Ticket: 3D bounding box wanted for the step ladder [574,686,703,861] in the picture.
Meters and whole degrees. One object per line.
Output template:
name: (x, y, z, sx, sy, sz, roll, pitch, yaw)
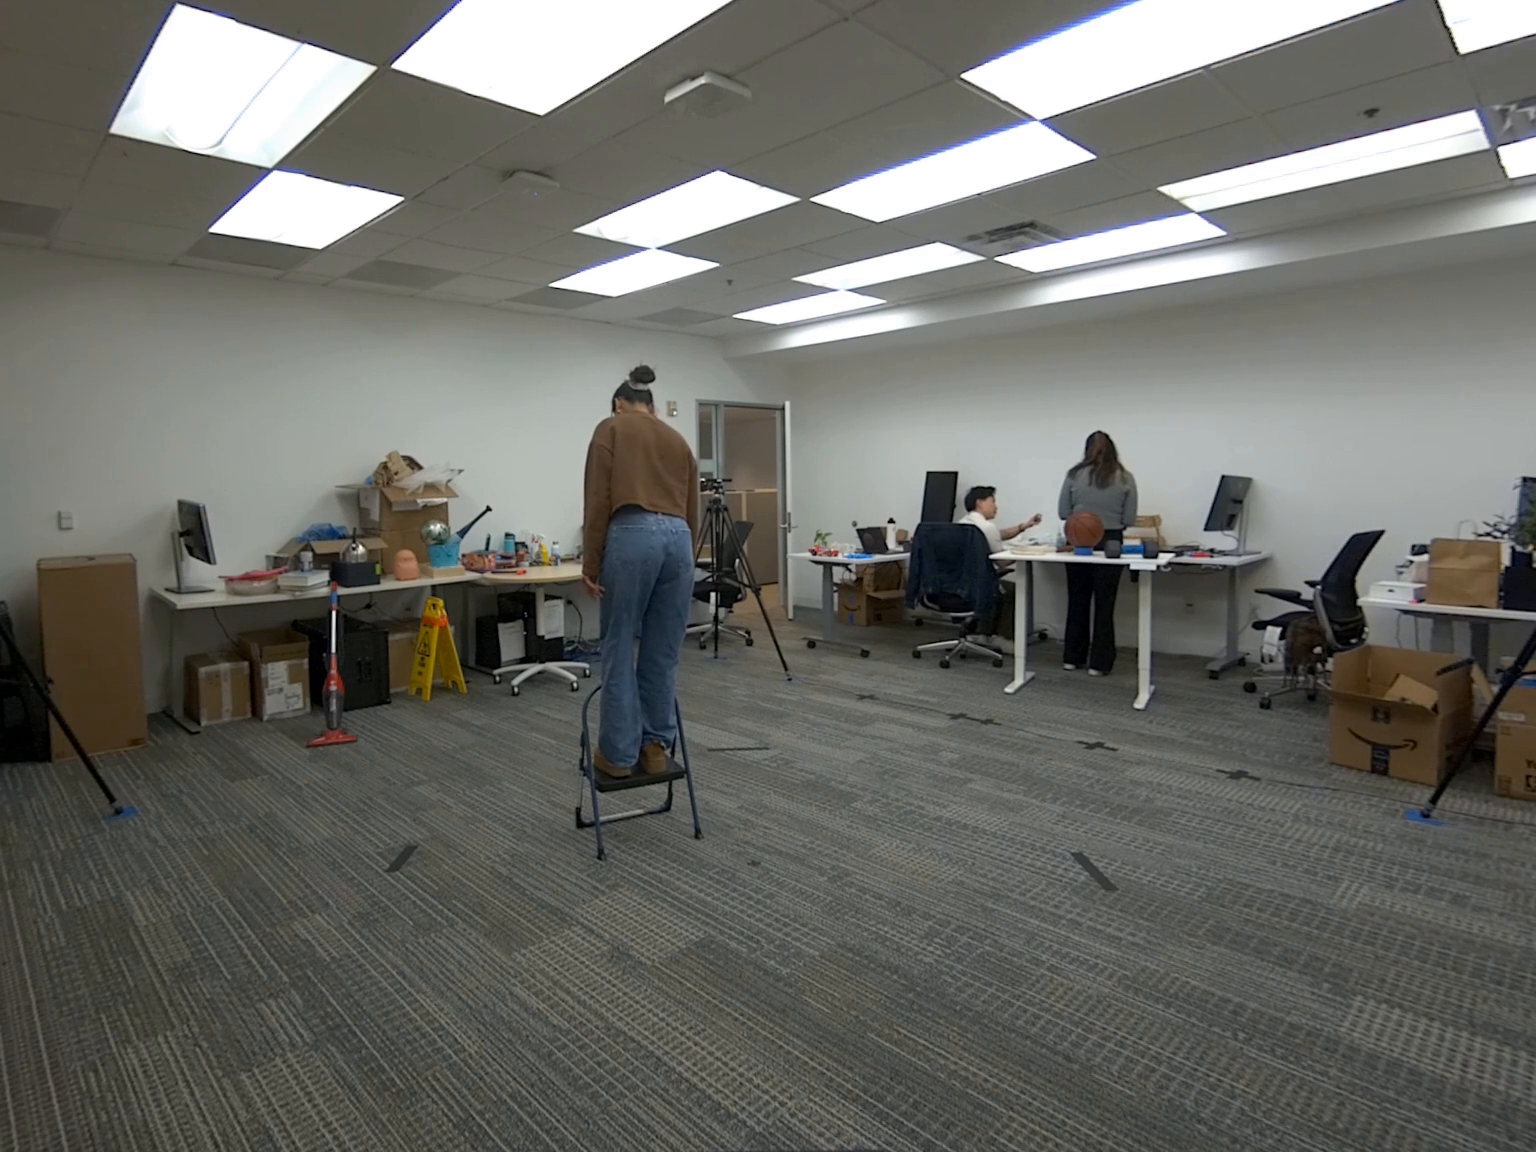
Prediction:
step ladder: (-0.525, 0.721, 3.386, 0.421, 0.604, 0.358, -4, 4, -28)
